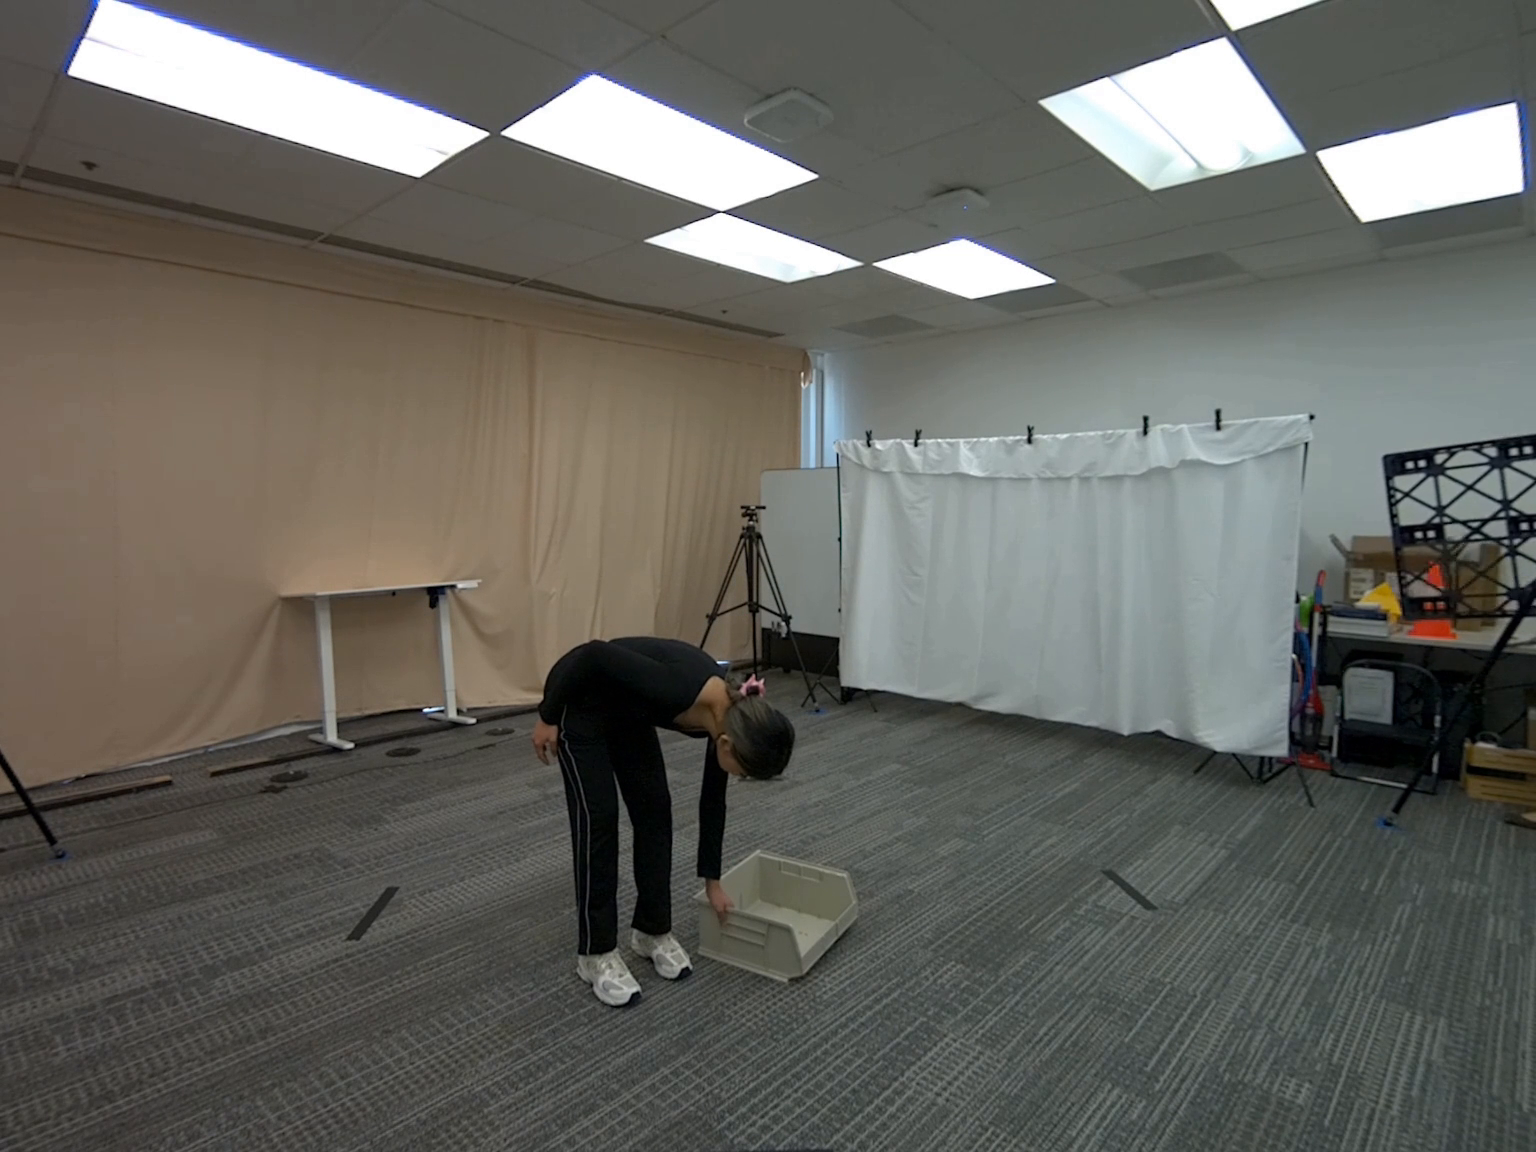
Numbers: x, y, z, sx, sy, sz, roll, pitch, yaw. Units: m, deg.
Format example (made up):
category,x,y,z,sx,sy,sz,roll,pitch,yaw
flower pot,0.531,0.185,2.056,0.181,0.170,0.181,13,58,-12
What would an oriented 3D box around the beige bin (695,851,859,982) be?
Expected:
category,x,y,z,sx,sy,sz,roll,pitch,yaw
beige bin,0.034,1.081,2.696,0.388,0.188,0.411,1,5,30
